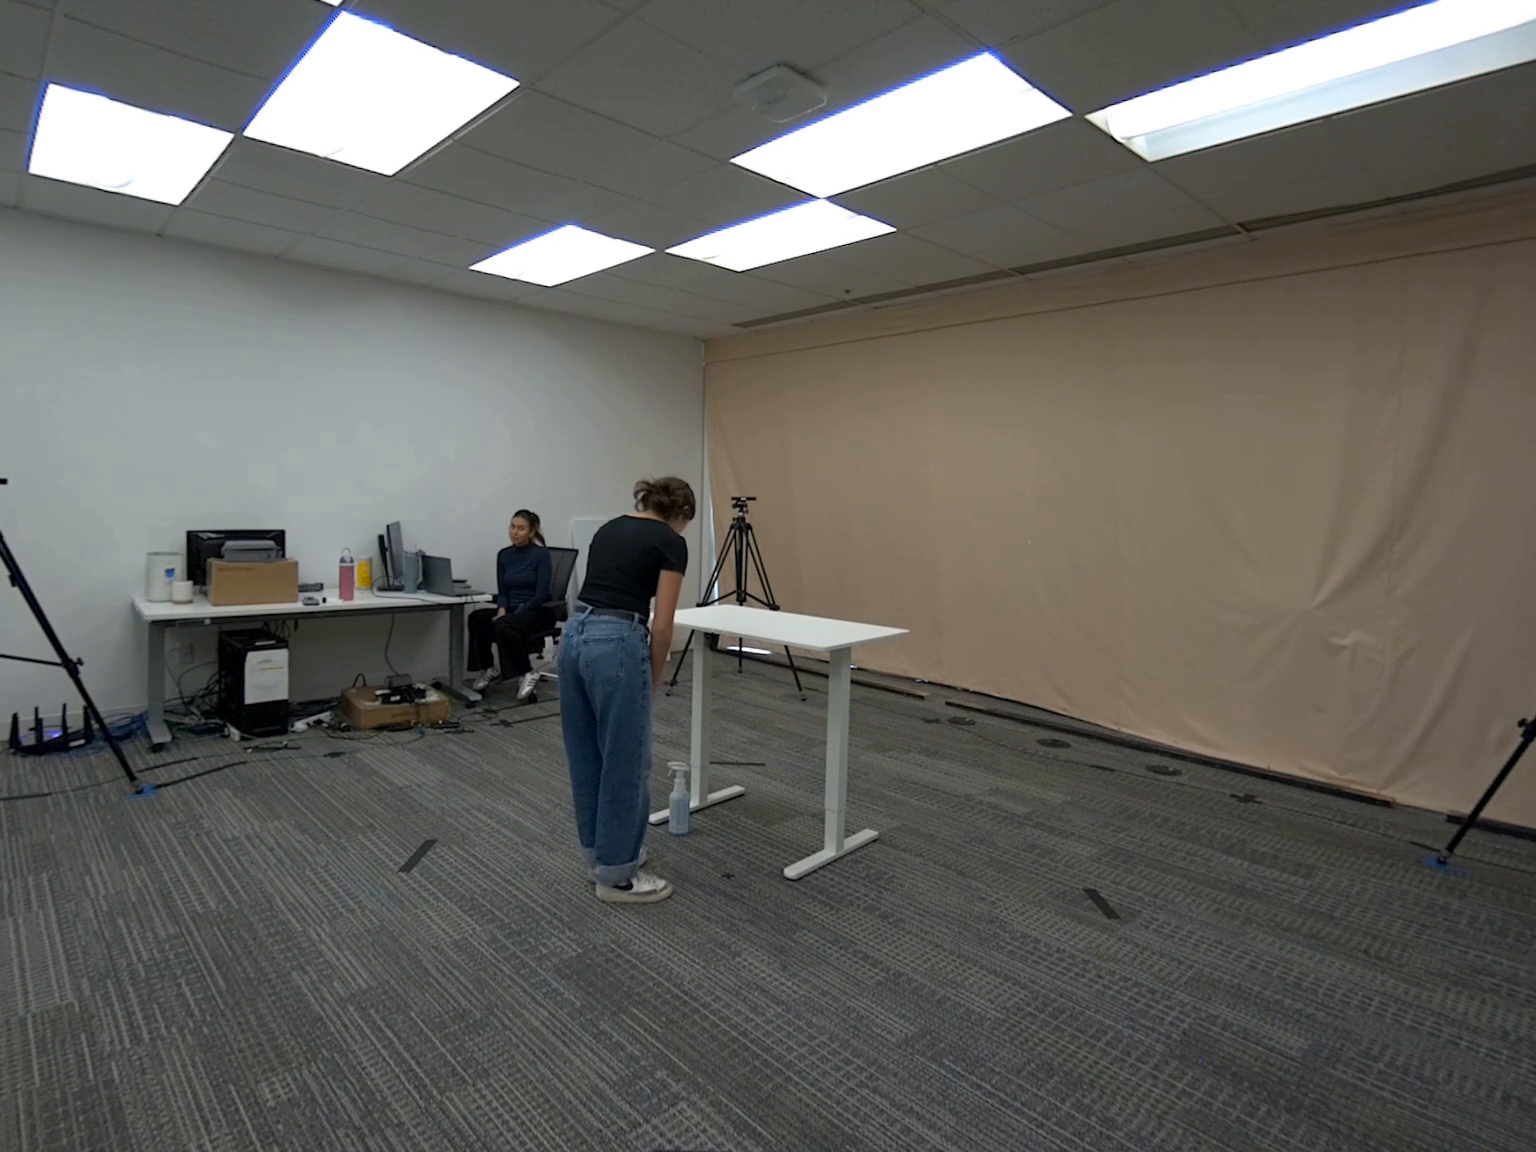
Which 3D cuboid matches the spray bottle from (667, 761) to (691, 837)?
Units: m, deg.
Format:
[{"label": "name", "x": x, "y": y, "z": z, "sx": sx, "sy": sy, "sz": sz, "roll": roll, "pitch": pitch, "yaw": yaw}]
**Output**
[{"label": "spray bottle", "x": -0.387, "y": 0.929, "z": 3.494, "sx": 0.091, "sy": 0.296, "sz": 0.086, "roll": 0, "pitch": 6, "yaw": 22}]
